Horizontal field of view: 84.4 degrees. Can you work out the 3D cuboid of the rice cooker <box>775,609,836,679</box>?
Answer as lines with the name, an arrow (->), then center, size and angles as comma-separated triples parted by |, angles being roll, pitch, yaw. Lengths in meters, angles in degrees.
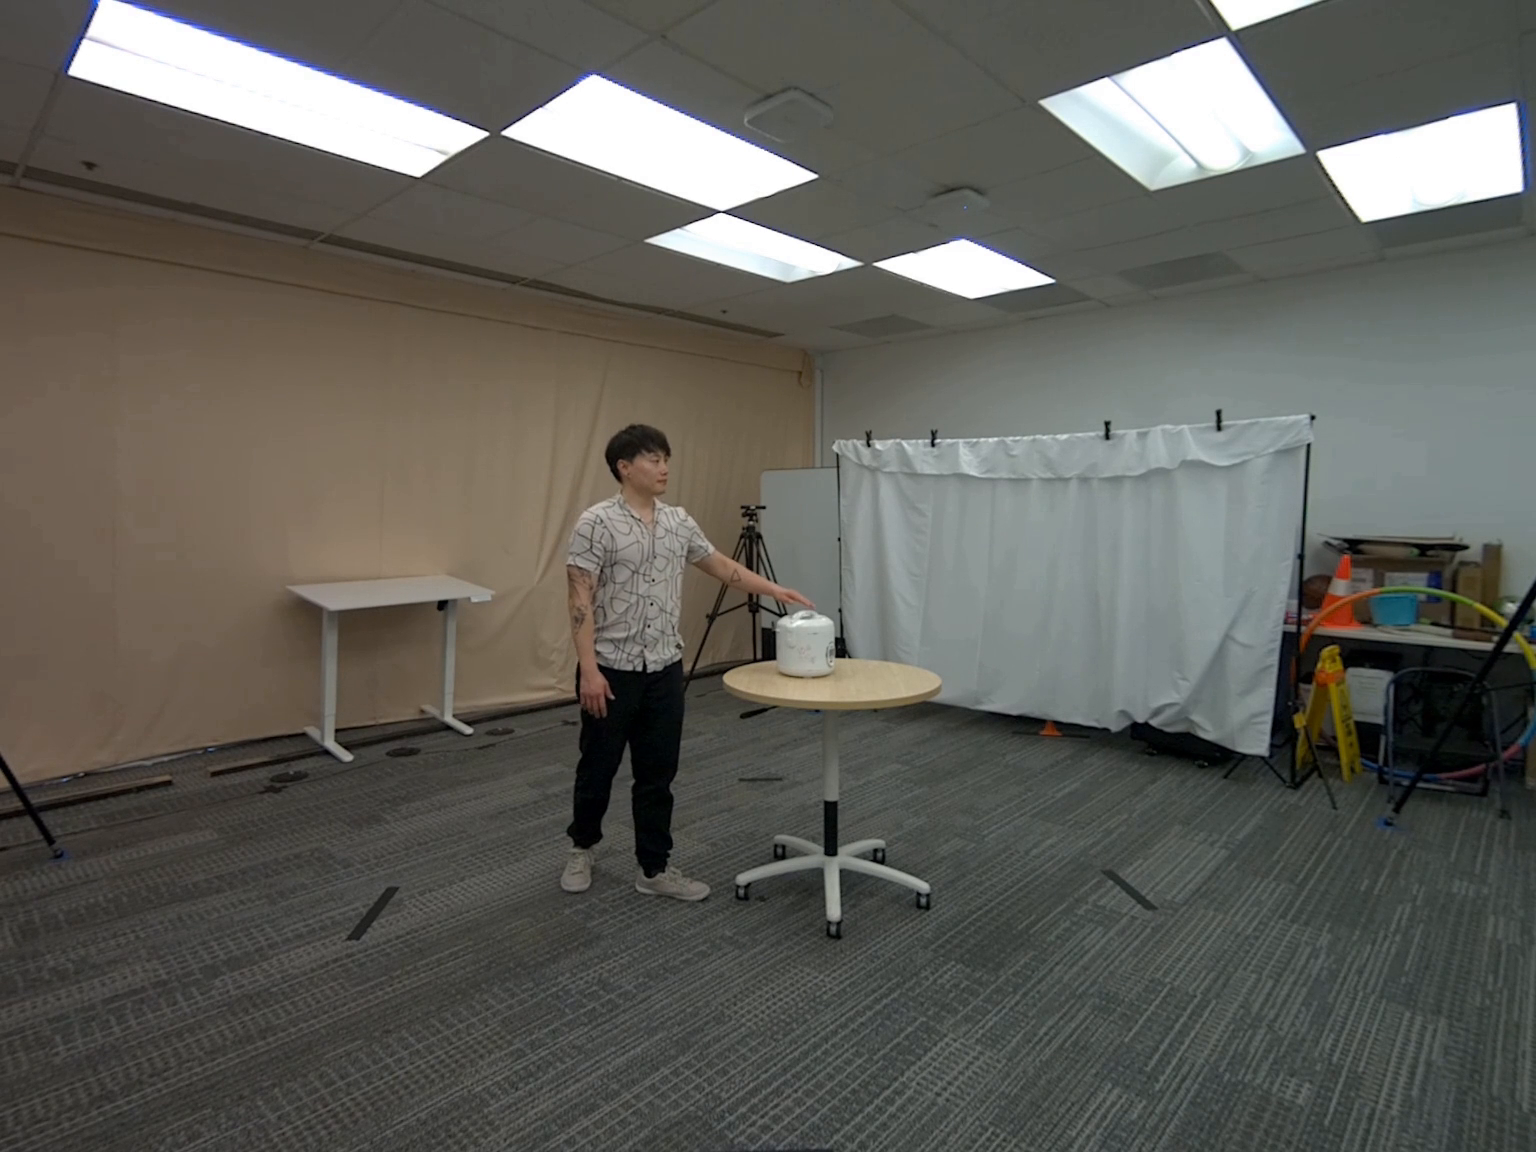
rice cooker -> 0.141, 0.239, 3.051 | 0.224, 0.232, 0.214 | 0, 3, 36
